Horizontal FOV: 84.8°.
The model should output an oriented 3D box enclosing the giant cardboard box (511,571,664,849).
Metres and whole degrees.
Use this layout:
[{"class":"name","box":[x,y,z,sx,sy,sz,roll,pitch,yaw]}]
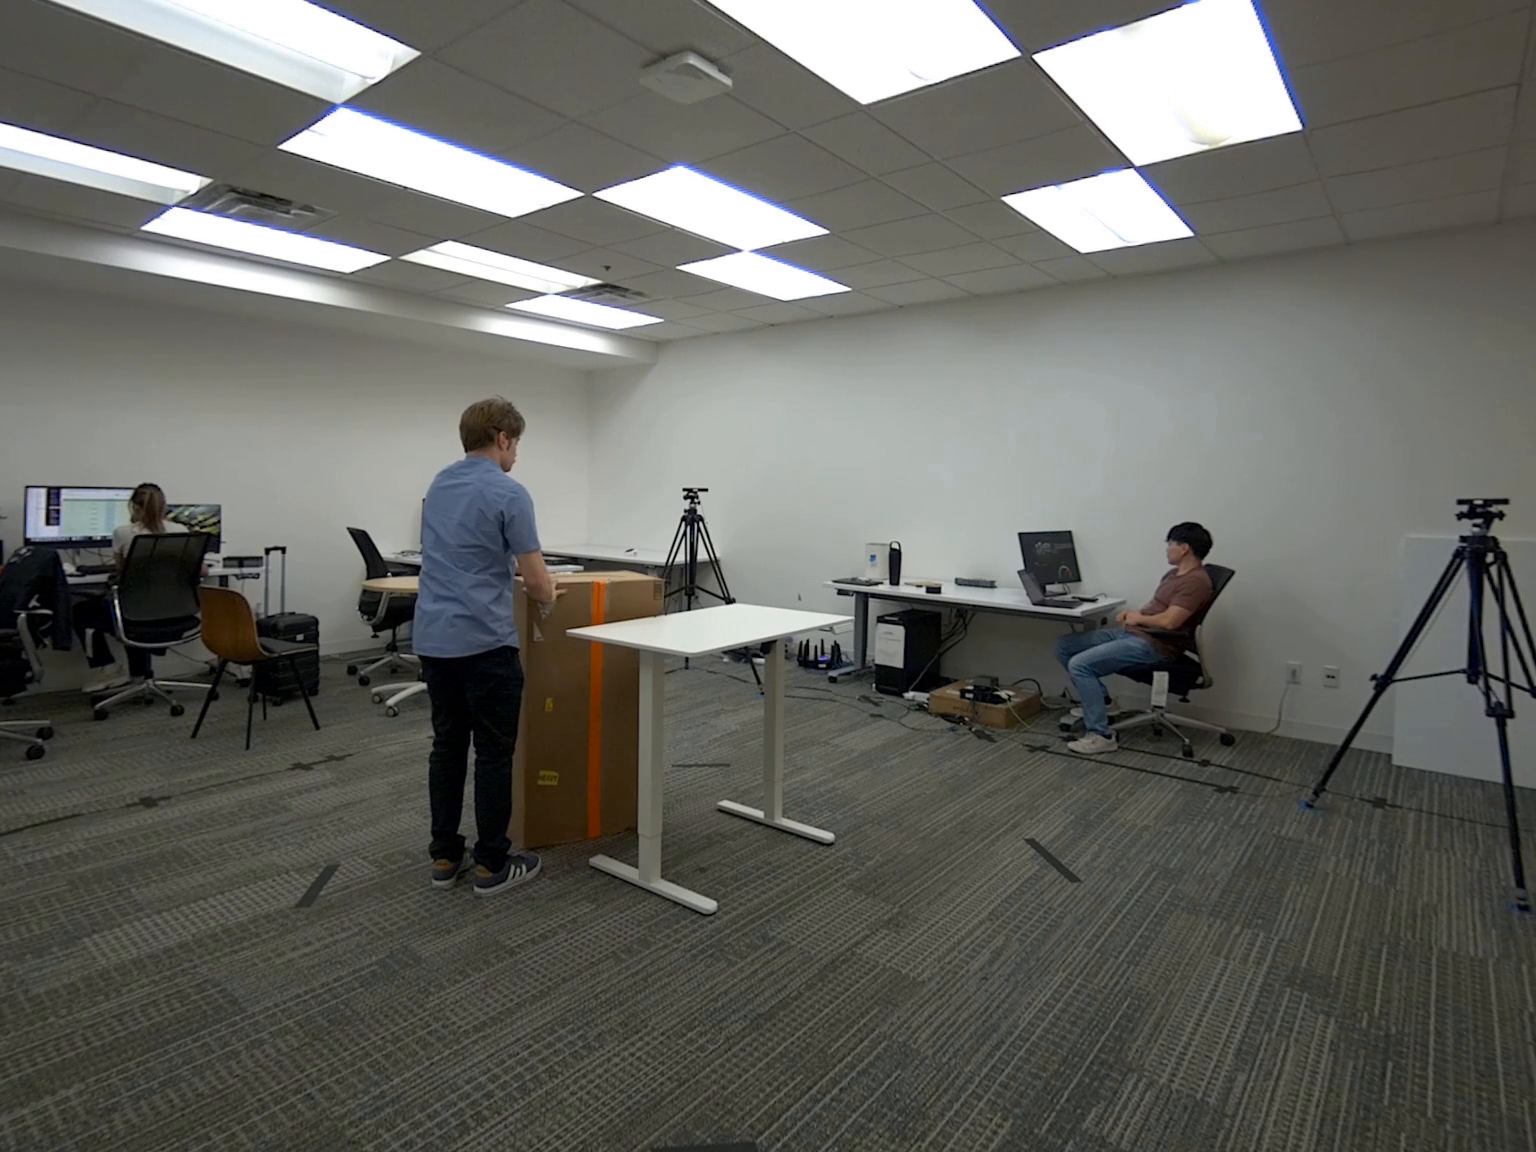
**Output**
[{"class":"giant cardboard box","box":[-0.805,0.506,3.539,0.561,1.024,0.439,0,3,-31]}]
